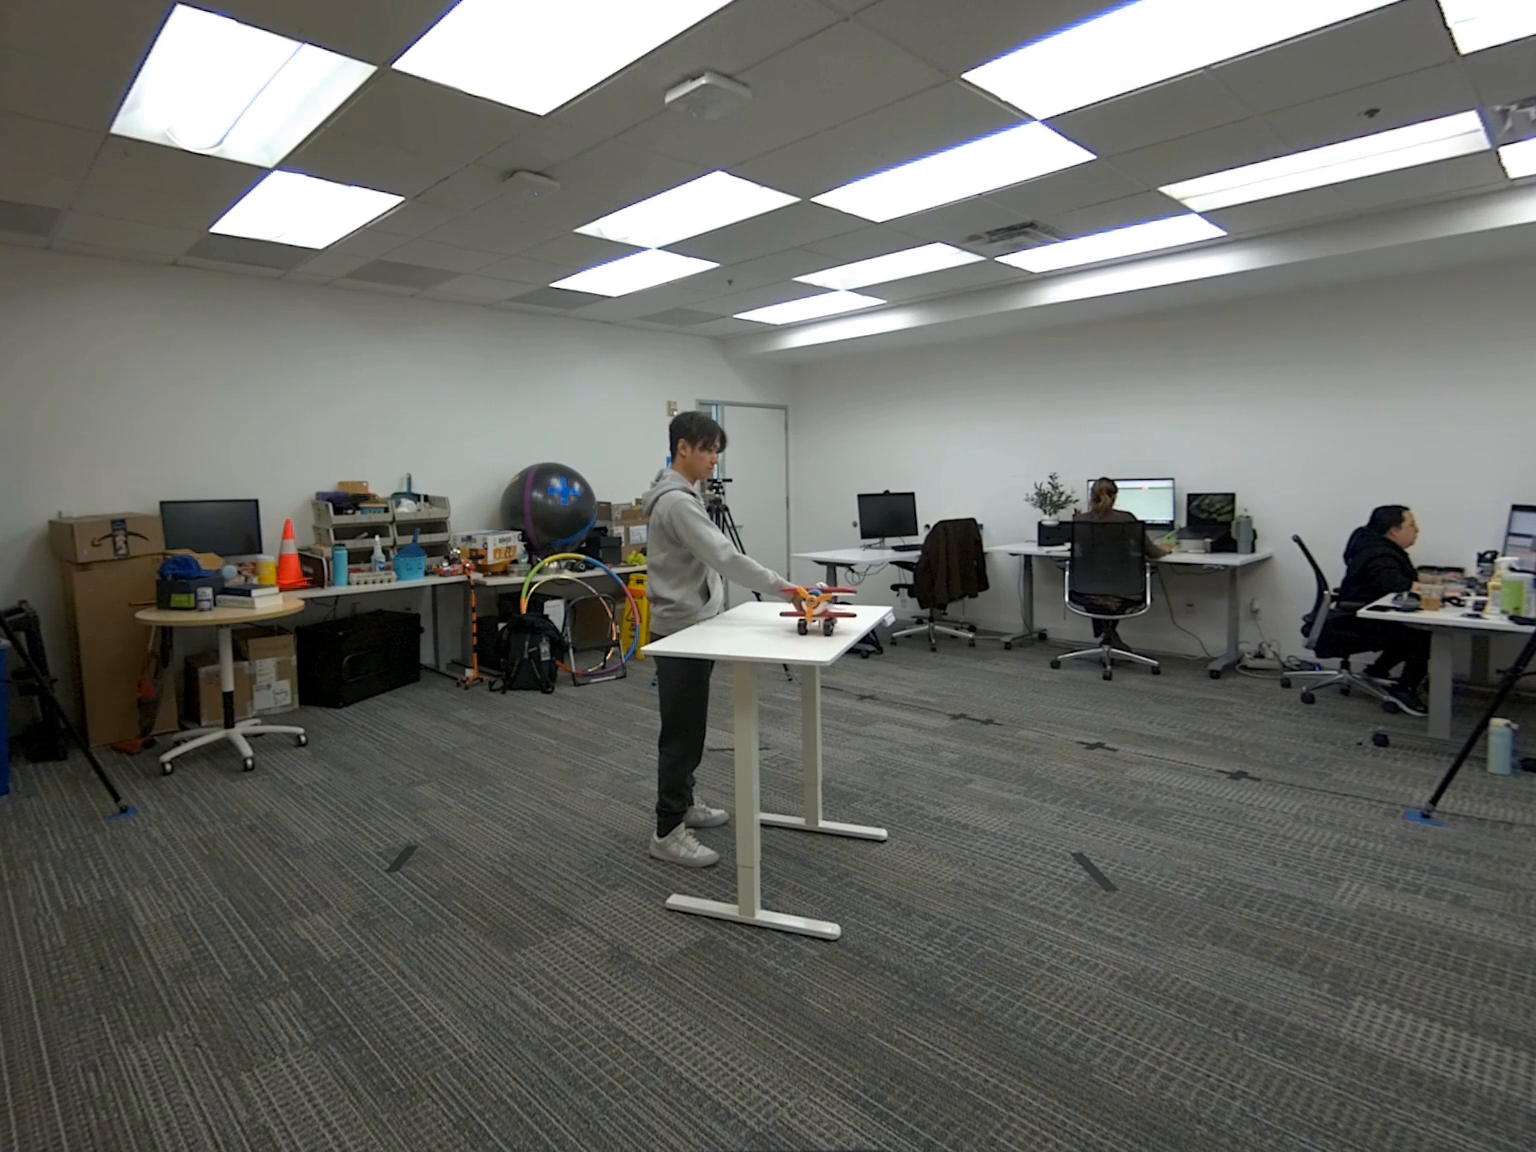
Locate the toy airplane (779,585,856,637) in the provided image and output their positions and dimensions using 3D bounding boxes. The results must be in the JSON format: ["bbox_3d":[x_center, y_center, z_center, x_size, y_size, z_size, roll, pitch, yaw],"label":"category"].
[{"bbox_3d":[0.164,0.106,2.882,0.248,0.155,0.263,-3,7,-11],"label":"toy airplane"}]
